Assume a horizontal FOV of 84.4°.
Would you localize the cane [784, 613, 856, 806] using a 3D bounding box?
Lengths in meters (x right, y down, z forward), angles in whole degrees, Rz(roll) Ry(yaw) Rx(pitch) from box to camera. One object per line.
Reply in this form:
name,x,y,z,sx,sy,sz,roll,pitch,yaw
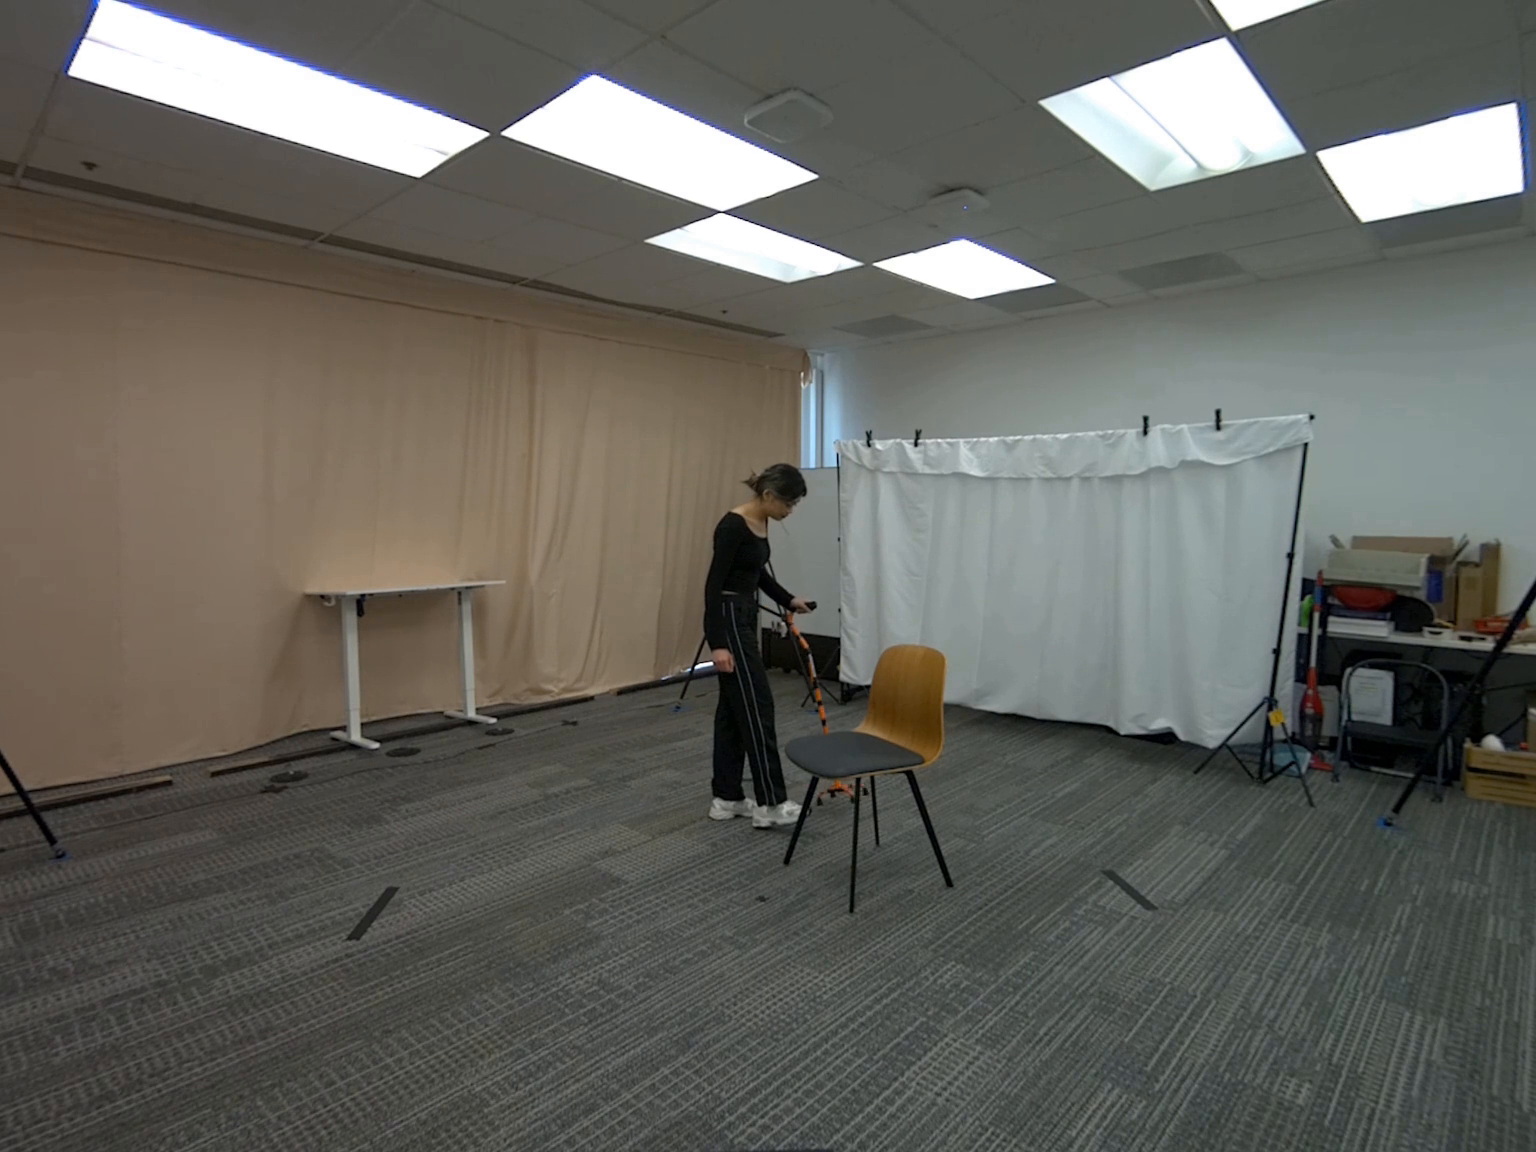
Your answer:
cane,0.238,0.582,3.886,0.212,0.910,0.147,-15,-3,35
